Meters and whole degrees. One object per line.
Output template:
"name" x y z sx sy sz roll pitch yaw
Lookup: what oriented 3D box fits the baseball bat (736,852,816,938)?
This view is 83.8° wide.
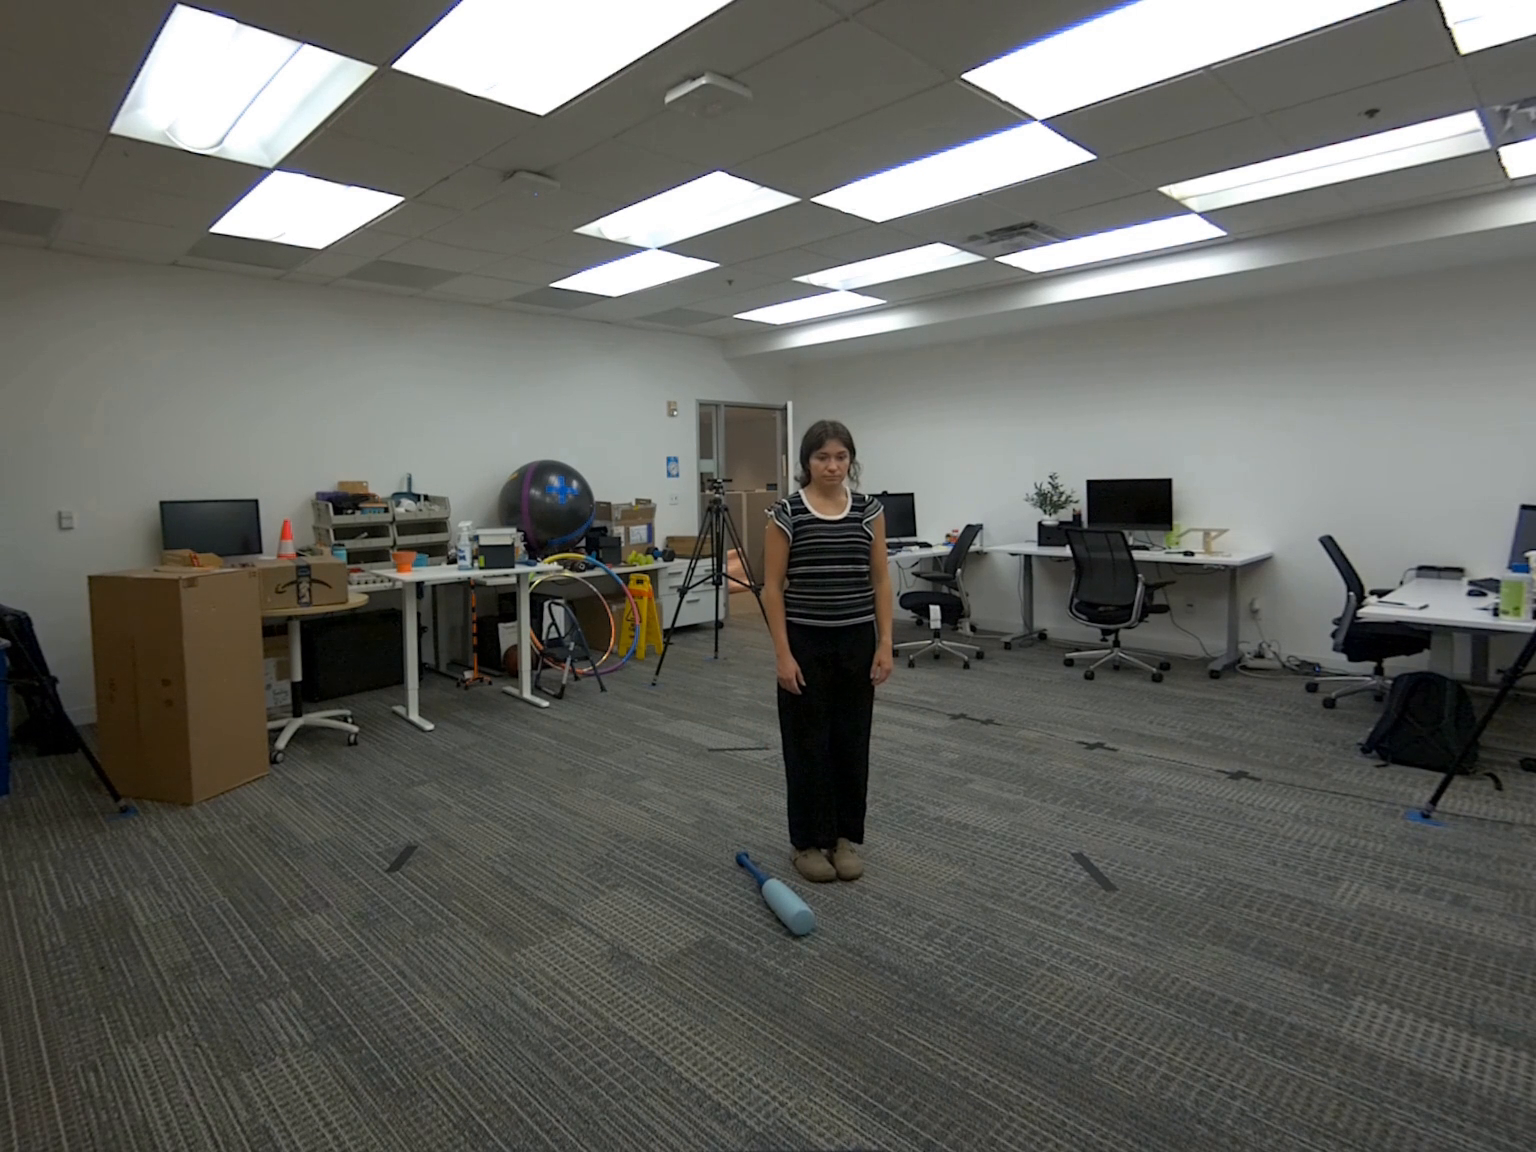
"baseball bat" 0.003 1.040 2.843 0.087 0.089 0.554 -3 4 -22
